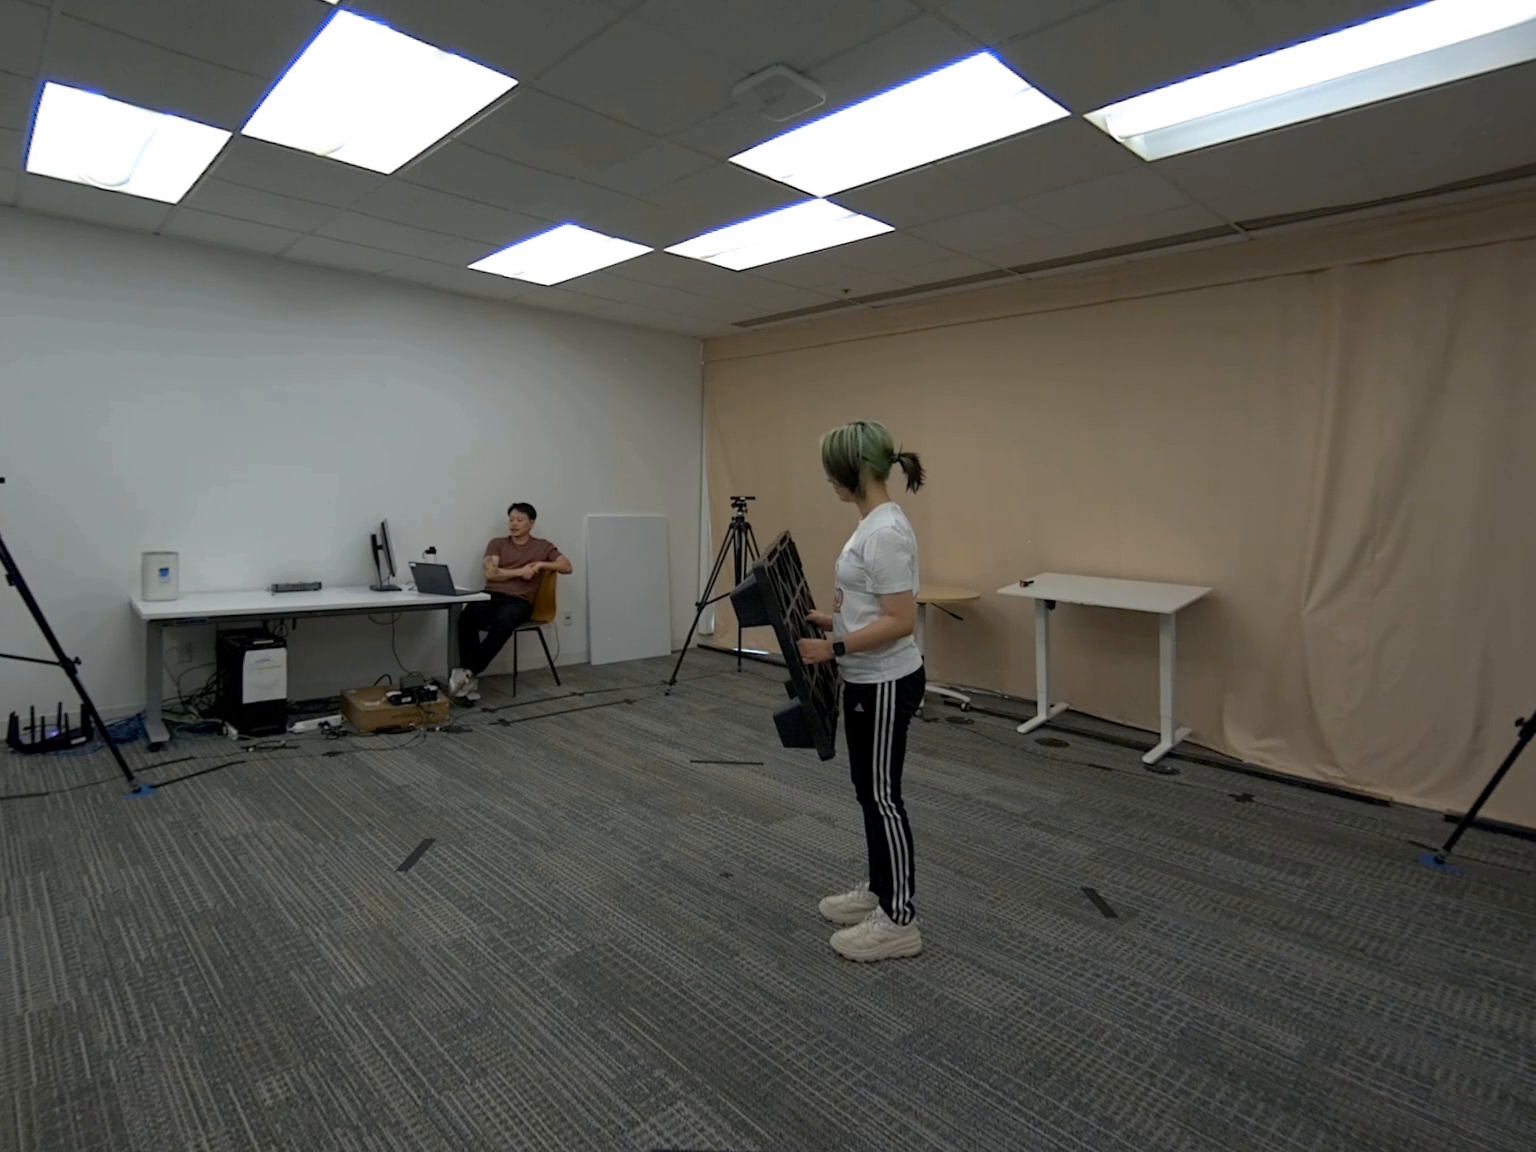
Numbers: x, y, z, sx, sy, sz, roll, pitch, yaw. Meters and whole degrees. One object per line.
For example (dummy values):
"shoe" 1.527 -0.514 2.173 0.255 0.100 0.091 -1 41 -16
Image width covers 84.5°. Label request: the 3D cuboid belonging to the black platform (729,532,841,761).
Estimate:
"black platform" 0.071 0.201 2.742 0.144 0.602 0.805 -17 6 9
